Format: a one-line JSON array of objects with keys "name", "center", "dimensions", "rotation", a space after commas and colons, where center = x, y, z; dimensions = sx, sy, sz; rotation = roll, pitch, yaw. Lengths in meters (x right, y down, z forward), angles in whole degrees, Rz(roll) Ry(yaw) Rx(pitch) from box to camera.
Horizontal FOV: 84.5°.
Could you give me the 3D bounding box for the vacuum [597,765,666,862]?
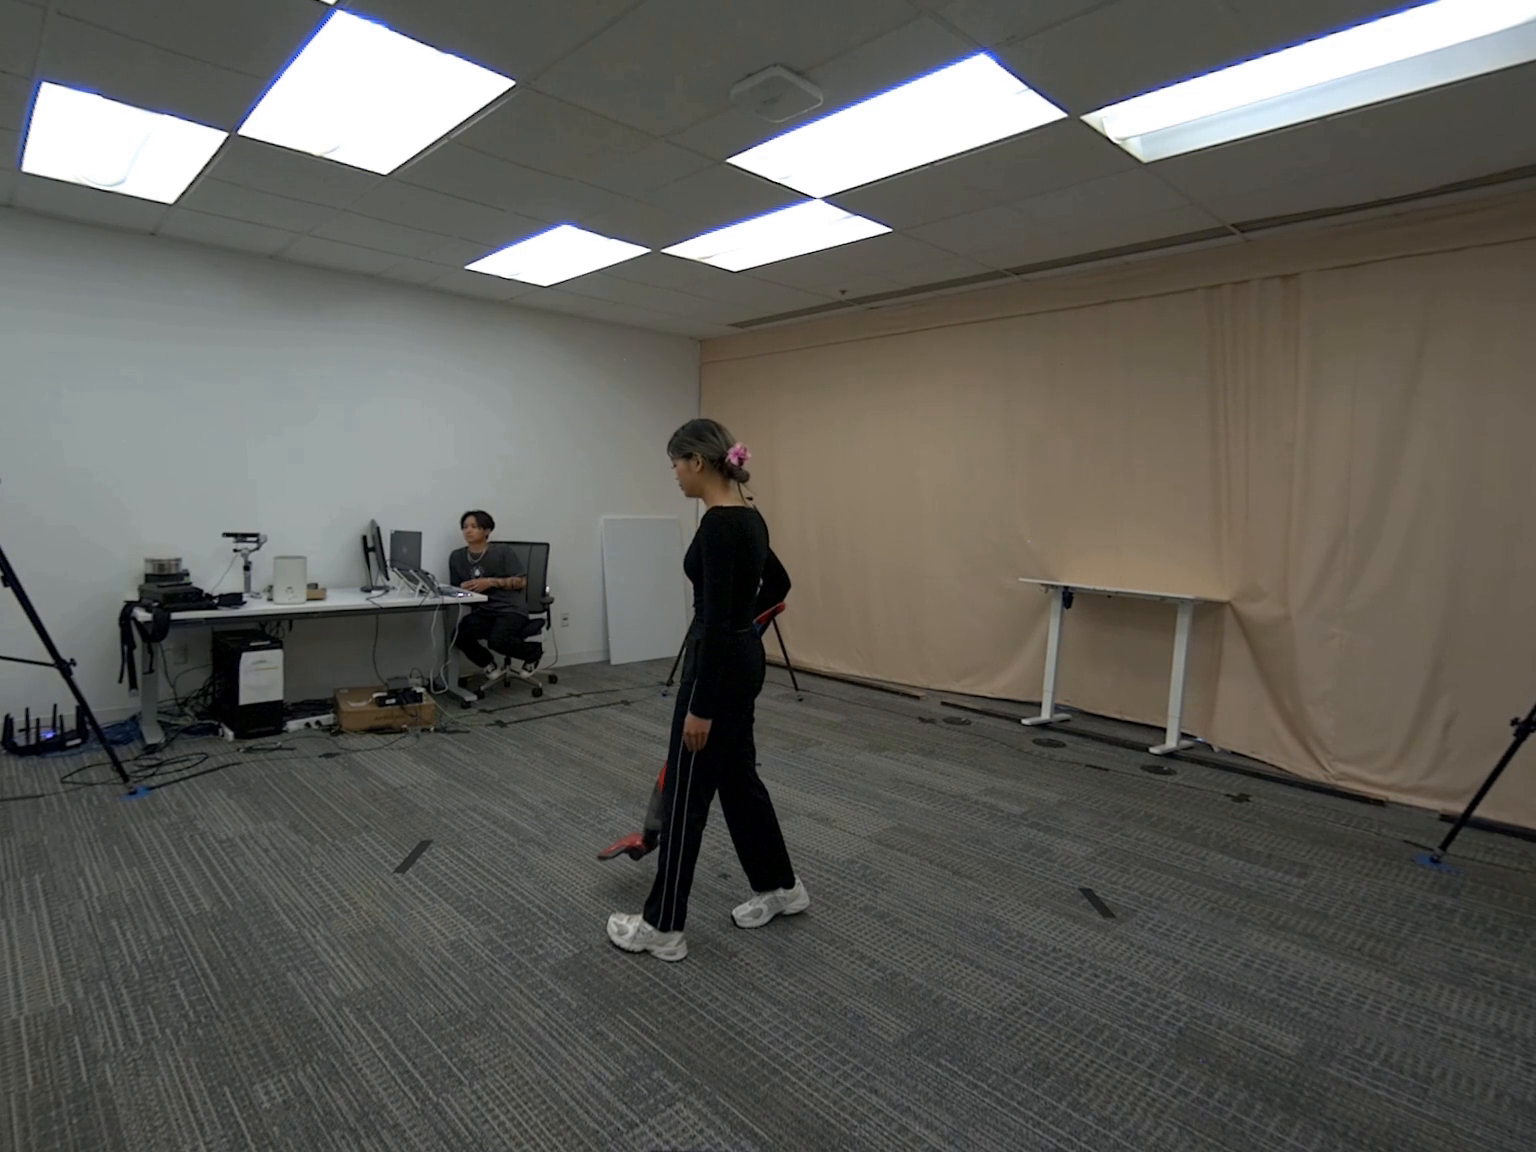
[{"name": "vacuum", "center": [-0.246, 0.550, 2.898], "dimensions": [0.147, 1.046, 0.248], "rotation": [34, 13, 18]}]
